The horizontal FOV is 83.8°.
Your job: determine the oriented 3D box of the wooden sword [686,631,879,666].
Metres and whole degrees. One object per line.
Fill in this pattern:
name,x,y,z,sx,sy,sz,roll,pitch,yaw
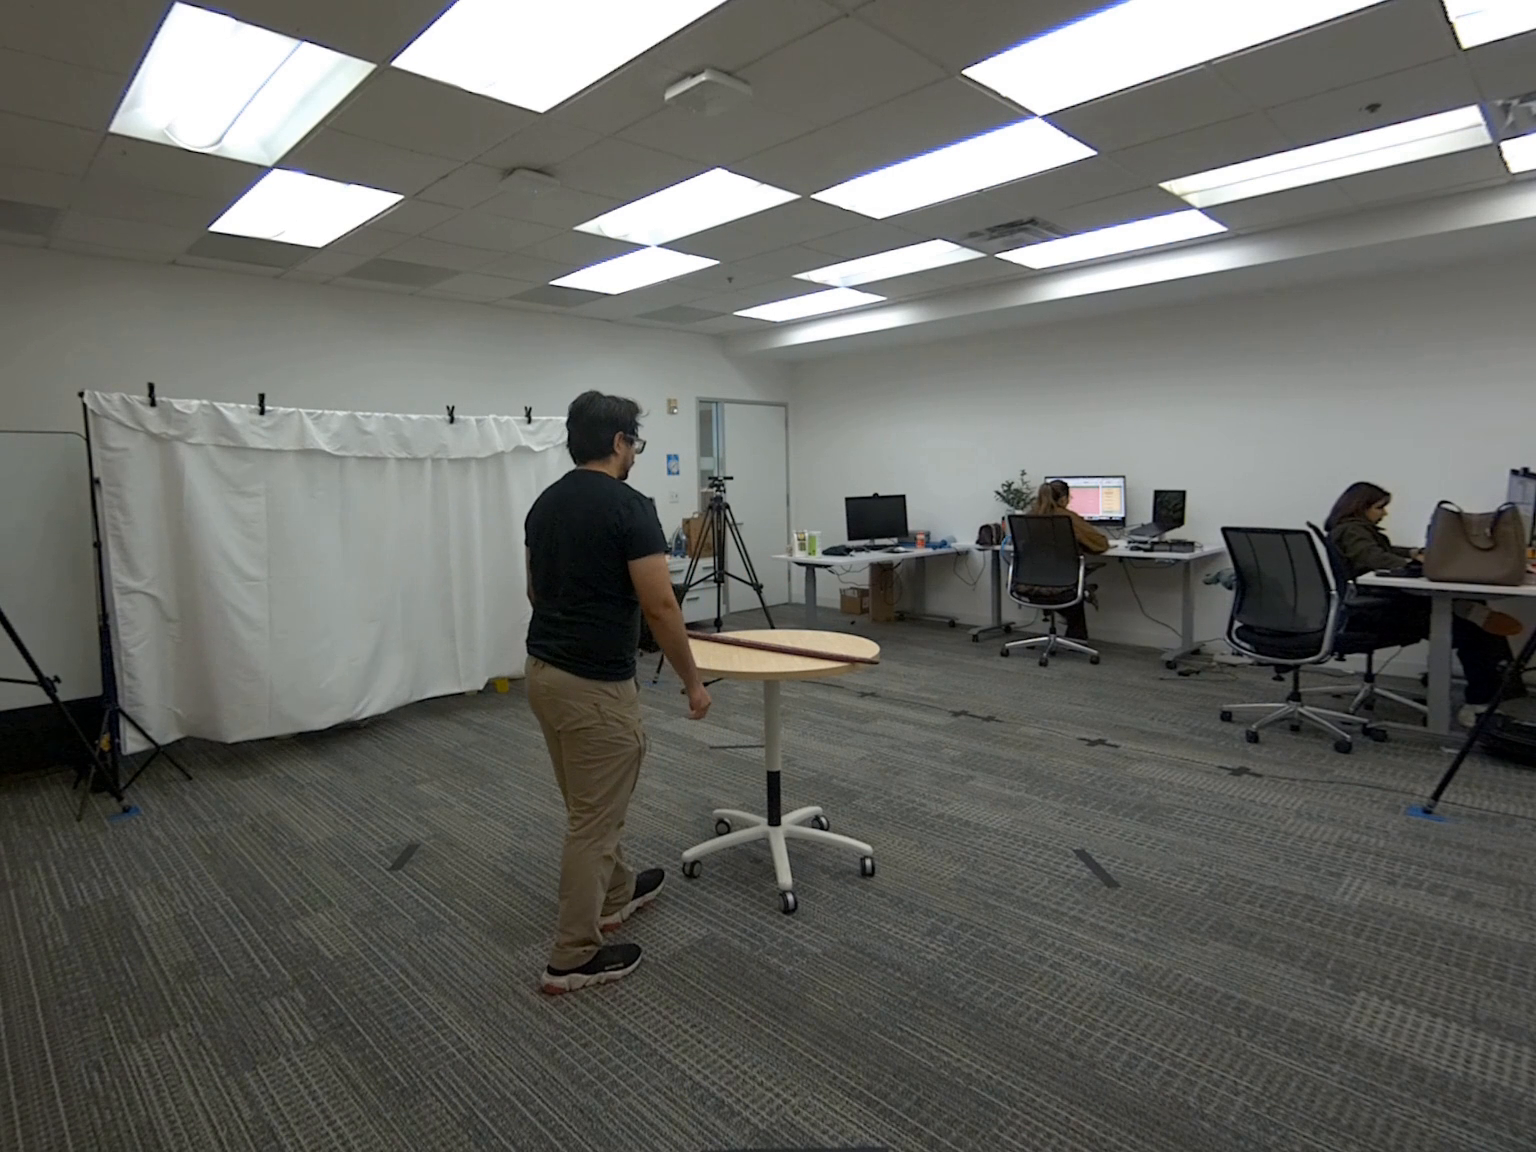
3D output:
wooden sword,-0.031,0.258,3.073,1.056,0.024,0.050,4,16,44
